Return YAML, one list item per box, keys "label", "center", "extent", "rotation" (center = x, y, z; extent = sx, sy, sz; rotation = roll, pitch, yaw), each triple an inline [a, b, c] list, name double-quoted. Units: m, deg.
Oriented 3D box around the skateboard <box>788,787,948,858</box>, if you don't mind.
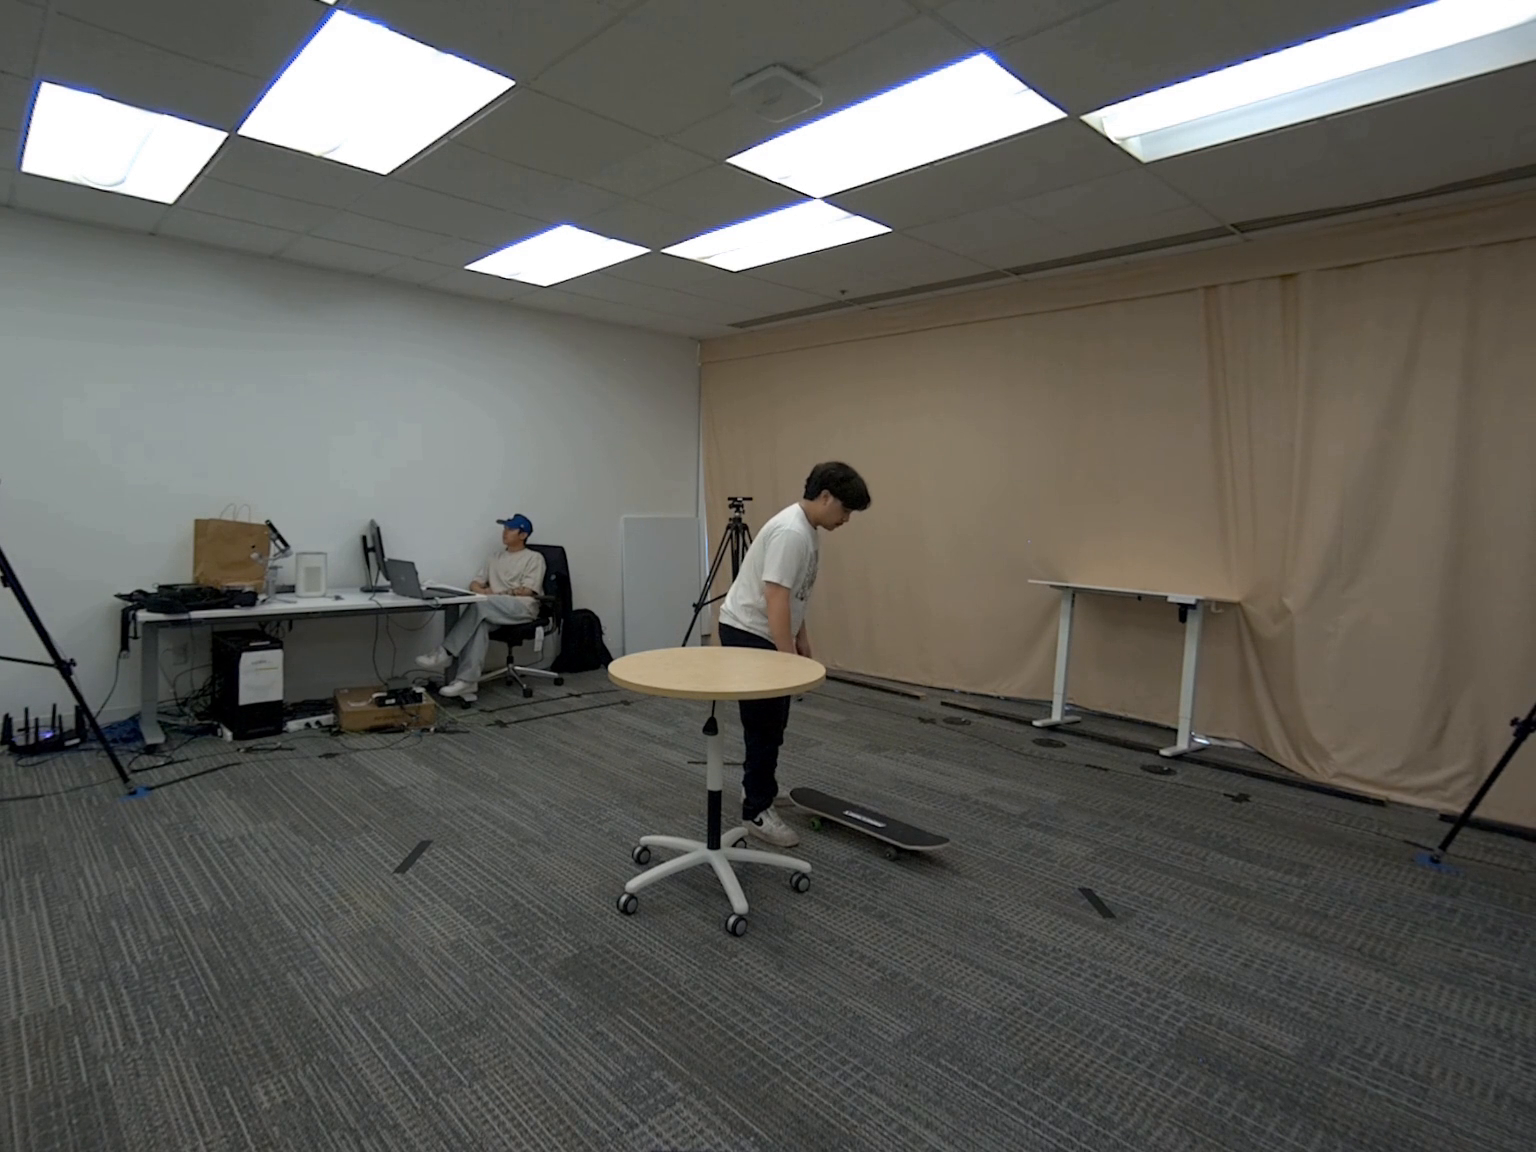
- label: "skateboard"
  center: [0.391, 1.039, 3.486]
  extent: [0.189, 0.110, 0.806]
  rotation: [-2, 6, -43]
